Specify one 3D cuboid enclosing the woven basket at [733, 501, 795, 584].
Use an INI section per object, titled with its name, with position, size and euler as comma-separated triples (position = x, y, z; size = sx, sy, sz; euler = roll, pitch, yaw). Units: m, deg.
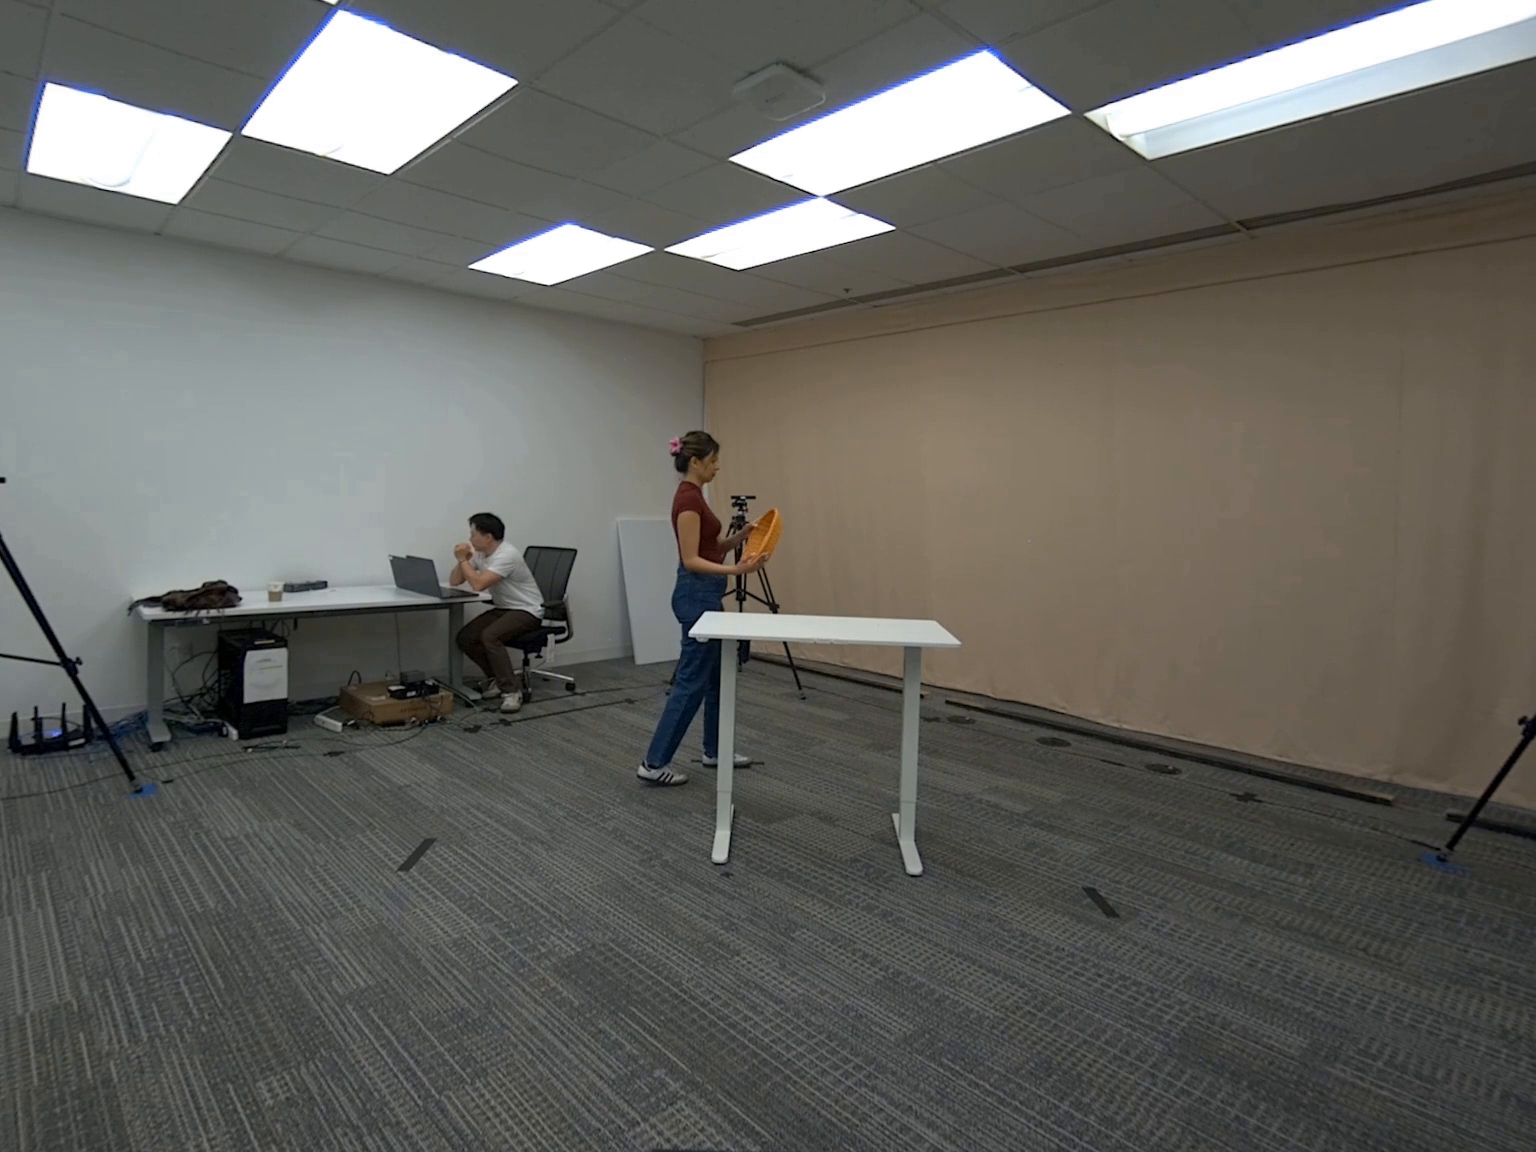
[woven basket]
position = -0.028, -0.159, 3.996
size = 0.072, 0.353, 0.254
euler = 32, -25, -14
